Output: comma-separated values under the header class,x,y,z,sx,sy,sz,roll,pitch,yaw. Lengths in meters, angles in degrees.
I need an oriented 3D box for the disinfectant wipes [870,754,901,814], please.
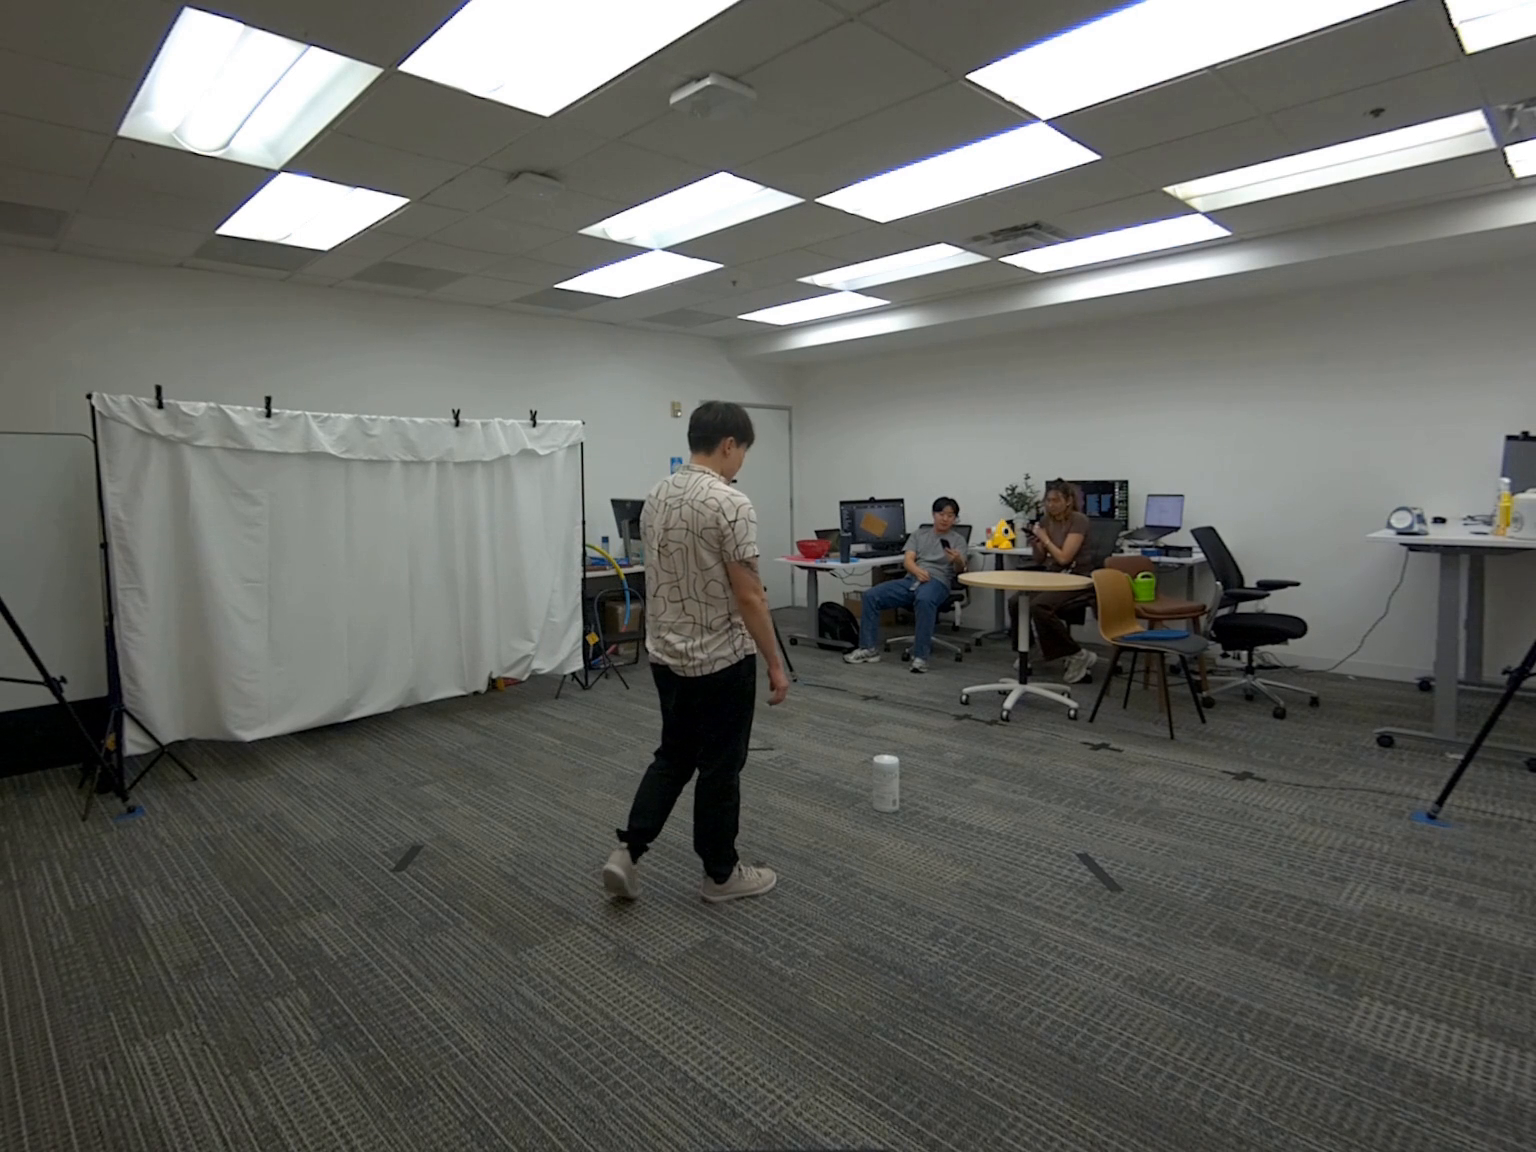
class,x,y,z,sx,sy,sz,roll,pitch,yaw
disinfectant wipes,0.504,0.880,3.605,0.118,0.217,0.118,-2,3,-2
